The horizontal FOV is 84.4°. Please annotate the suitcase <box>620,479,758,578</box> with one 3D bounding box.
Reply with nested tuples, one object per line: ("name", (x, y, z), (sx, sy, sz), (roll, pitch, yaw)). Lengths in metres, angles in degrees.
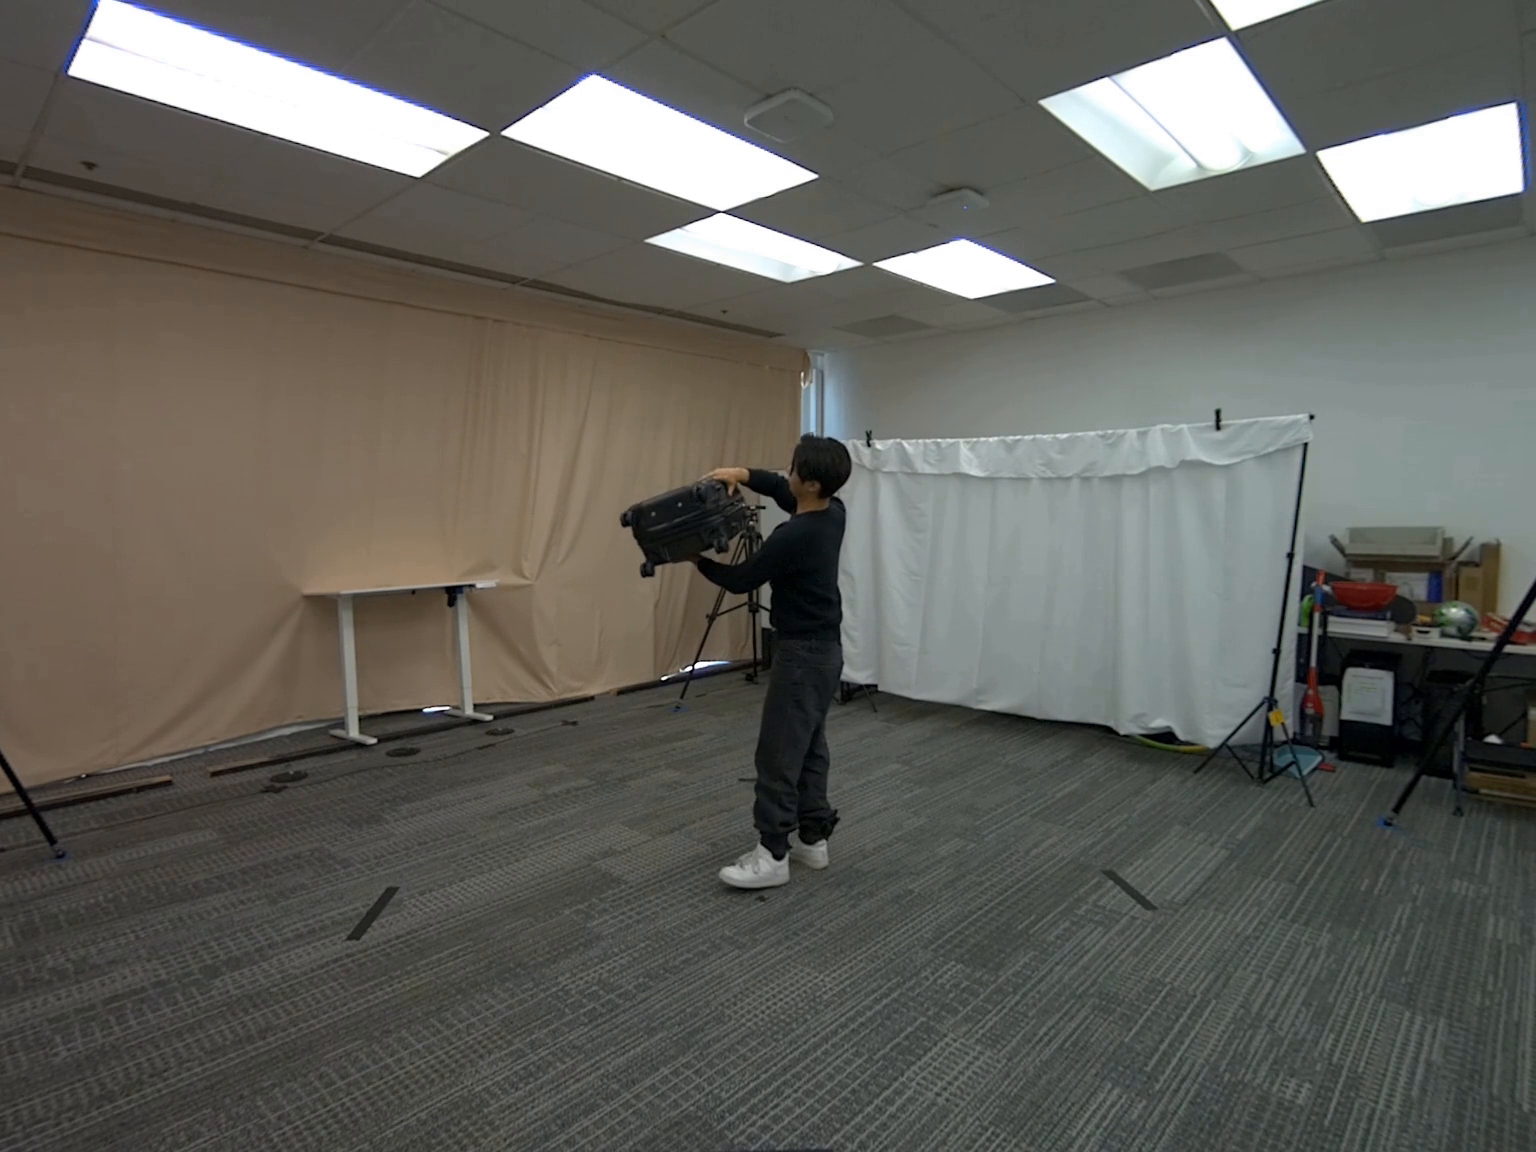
("suitcase", (-0.298, -0.220, 3.249), (0.380, 0.247, 0.546), (-18, 8, 13))
